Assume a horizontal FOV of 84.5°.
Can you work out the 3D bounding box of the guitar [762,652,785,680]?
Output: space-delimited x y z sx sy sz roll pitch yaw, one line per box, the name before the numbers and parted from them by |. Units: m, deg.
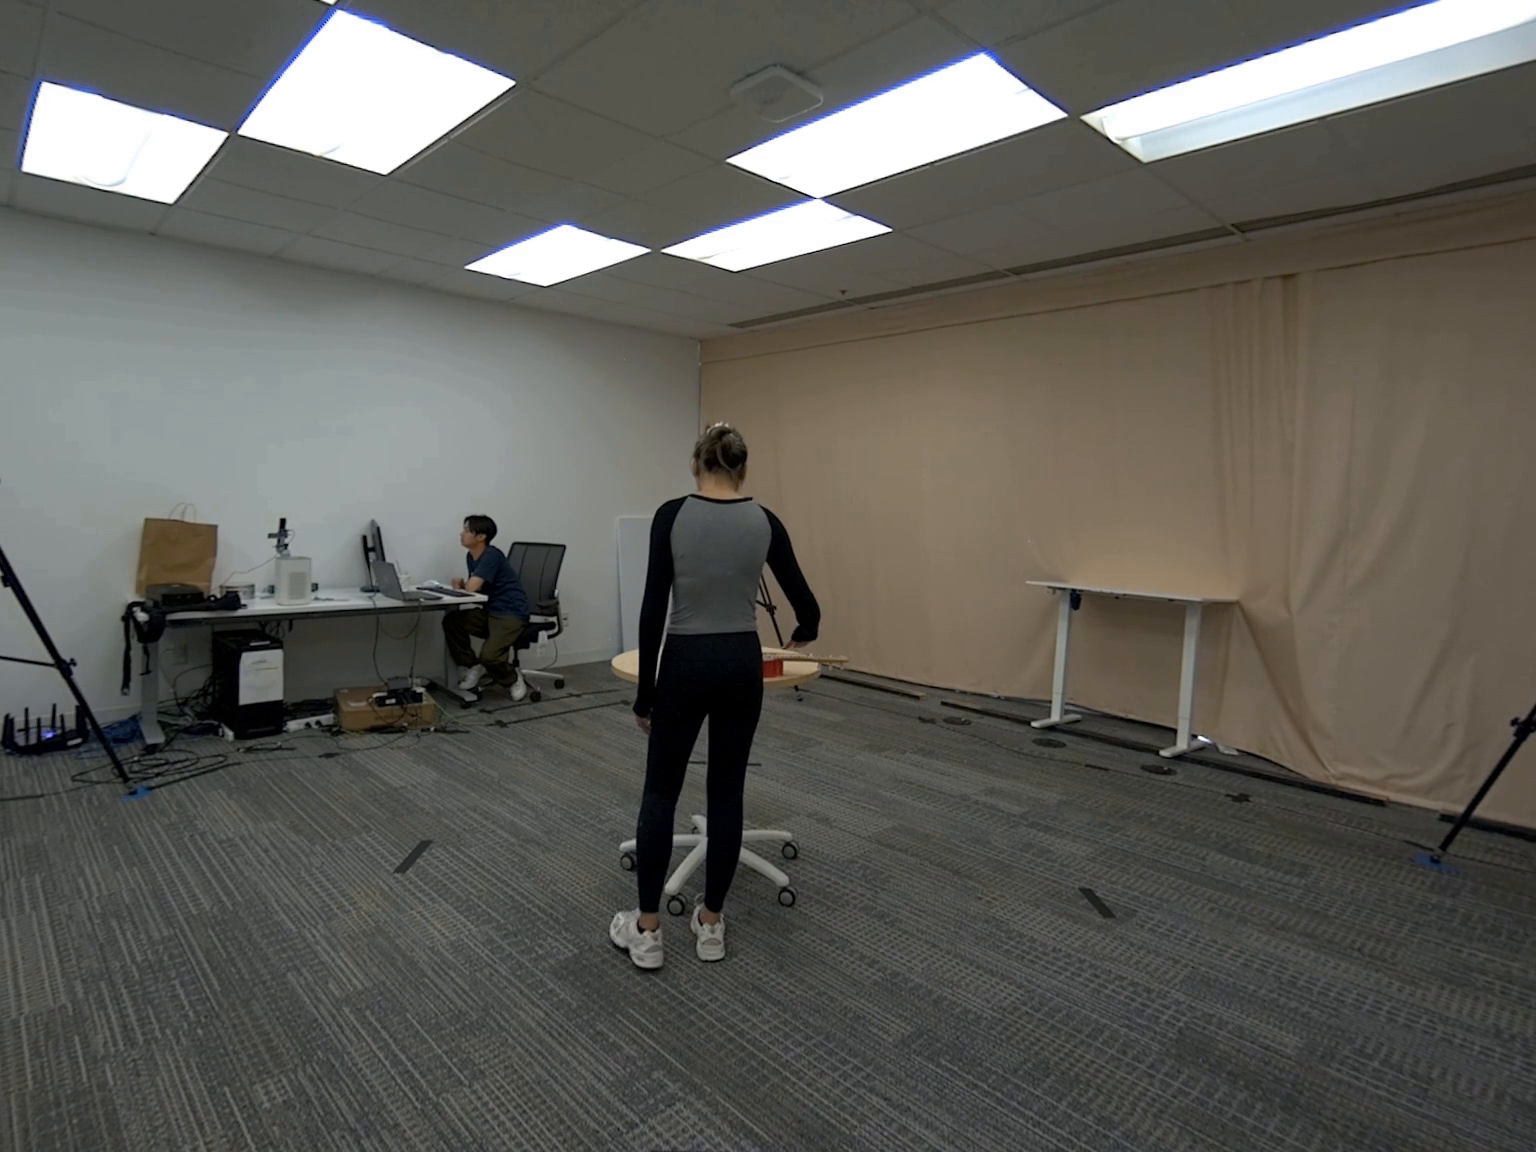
guitar | 0.013 0.309 2.846 0.504 0.070 0.191 2 5 15
